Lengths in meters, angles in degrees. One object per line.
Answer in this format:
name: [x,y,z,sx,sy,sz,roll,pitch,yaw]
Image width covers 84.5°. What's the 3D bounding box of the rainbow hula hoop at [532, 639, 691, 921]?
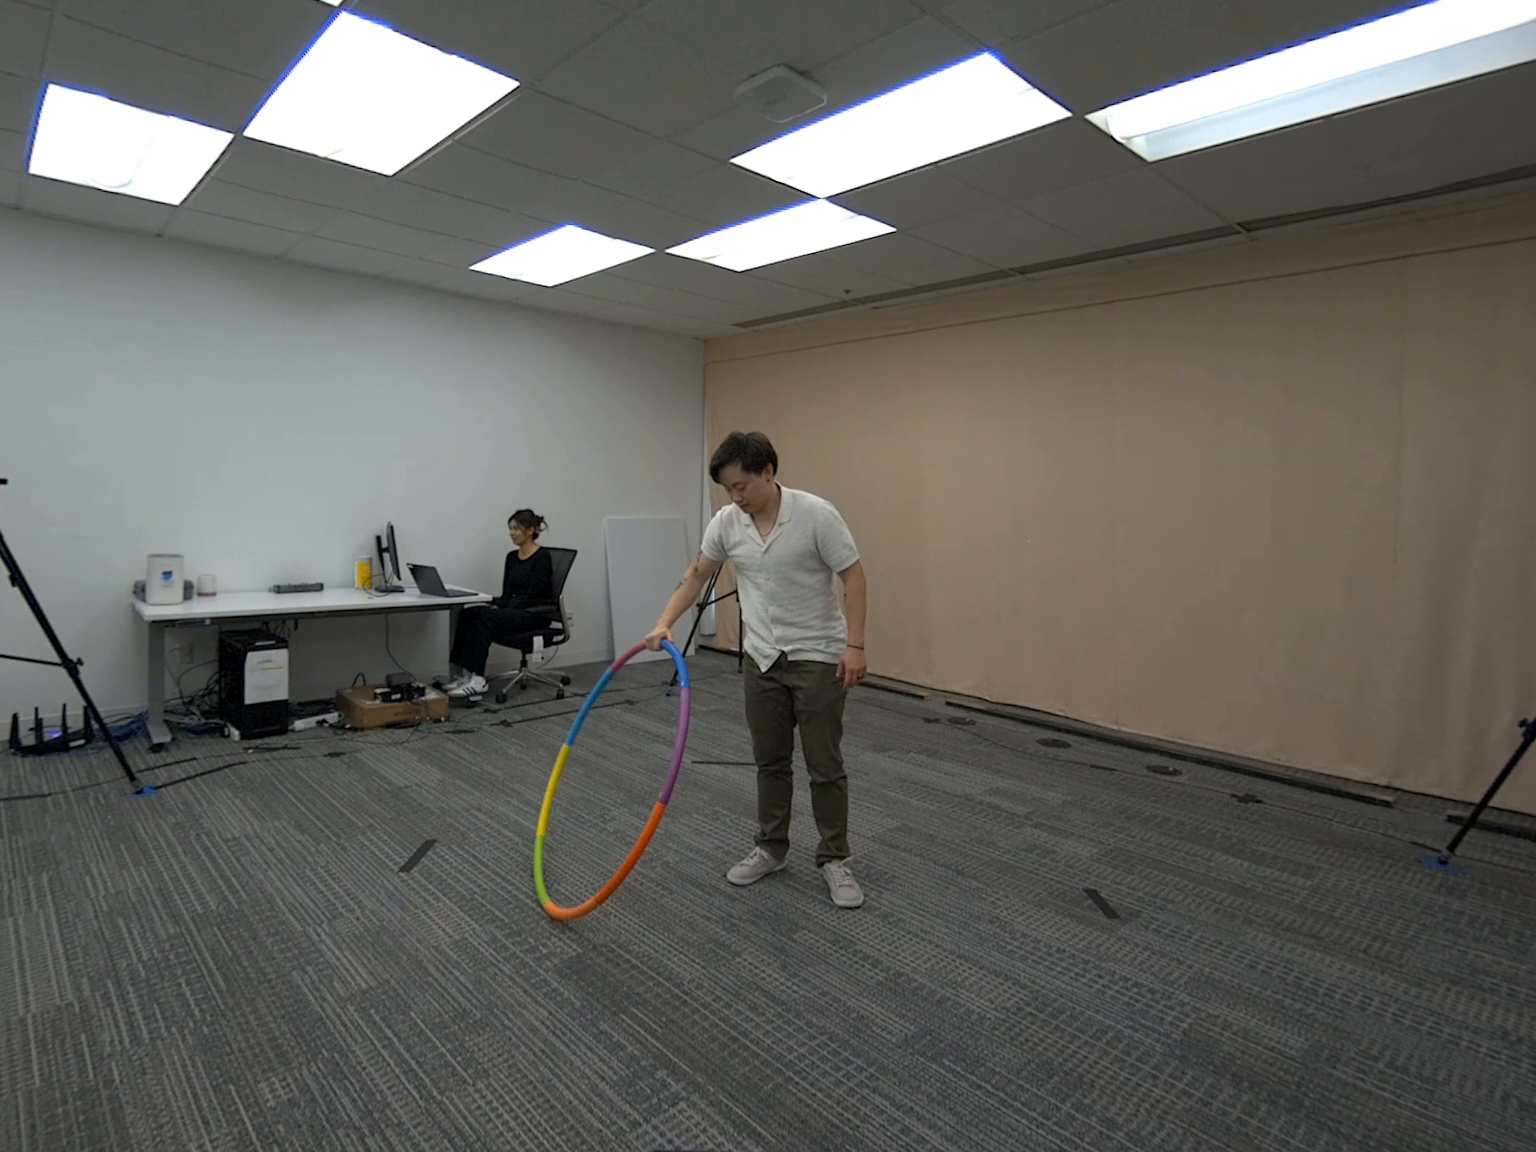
rainbow hula hoop: [-0.565,0.676,2.914,0.035,0.981,1.000,29,-9,-27]
